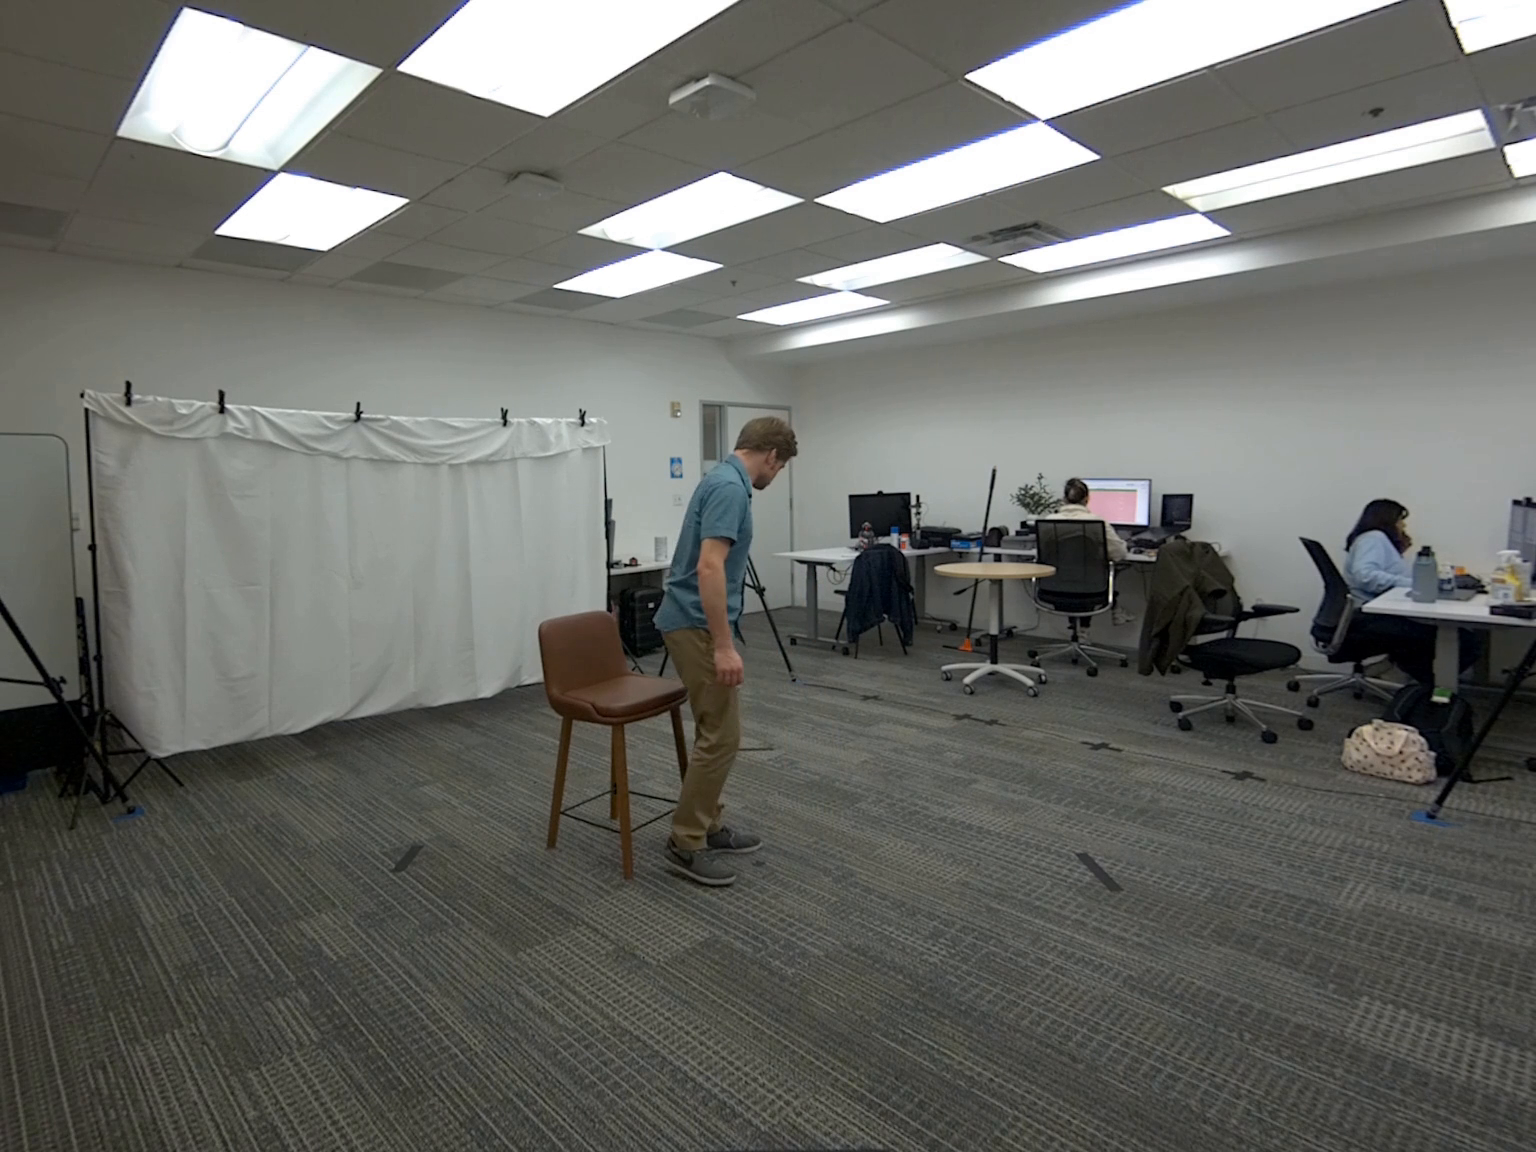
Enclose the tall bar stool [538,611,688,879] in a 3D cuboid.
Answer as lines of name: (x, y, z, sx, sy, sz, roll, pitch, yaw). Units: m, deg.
tall bar stool: (-0.576, 0.603, 3.283, 0.480, 0.888, 0.445, -1, 3, 36)
